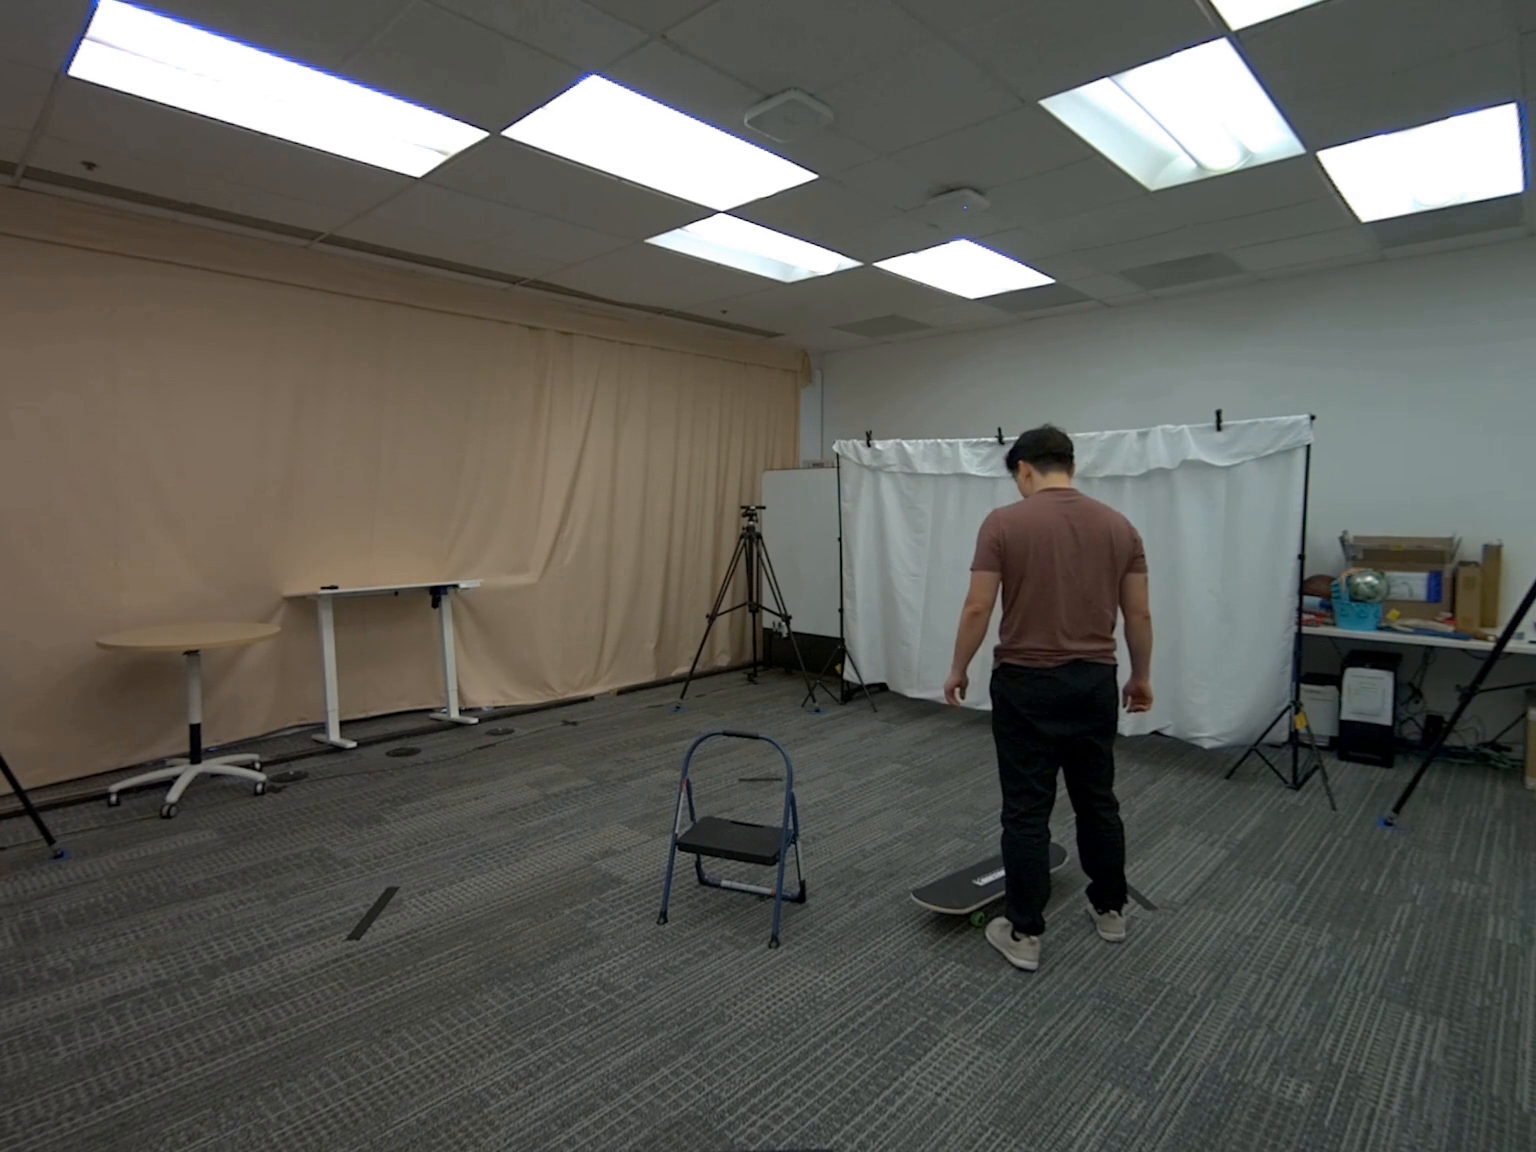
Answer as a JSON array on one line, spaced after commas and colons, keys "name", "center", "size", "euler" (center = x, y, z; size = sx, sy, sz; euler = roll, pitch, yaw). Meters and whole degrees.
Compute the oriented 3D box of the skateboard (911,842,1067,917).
[{"name": "skateboard", "center": [0.798, 1.094, 2.952], "size": [0.762, 0.110, 0.200], "euler": [-3, 6, -38]}]
